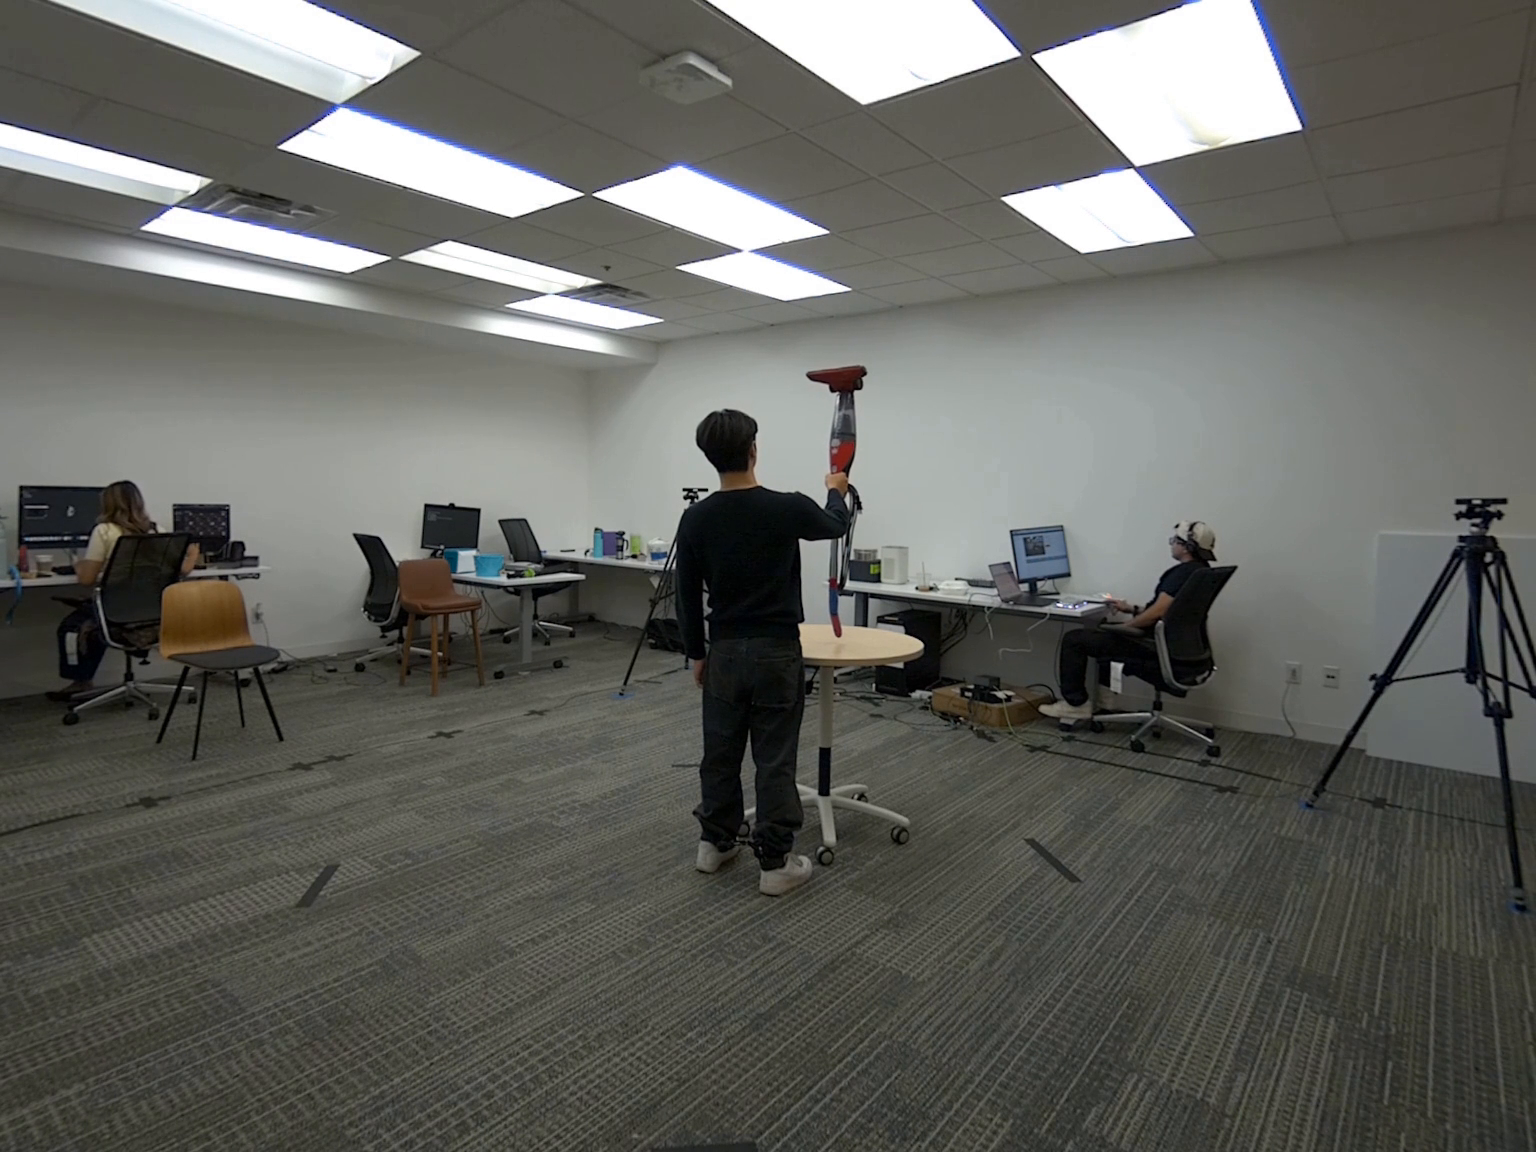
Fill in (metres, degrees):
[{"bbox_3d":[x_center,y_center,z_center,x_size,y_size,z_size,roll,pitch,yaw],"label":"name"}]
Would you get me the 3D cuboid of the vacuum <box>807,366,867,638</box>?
[{"bbox_3d":[0.287,-0.291,3.431,0.260,1.049,0.140,-1,0,35],"label":"vacuum"}]
